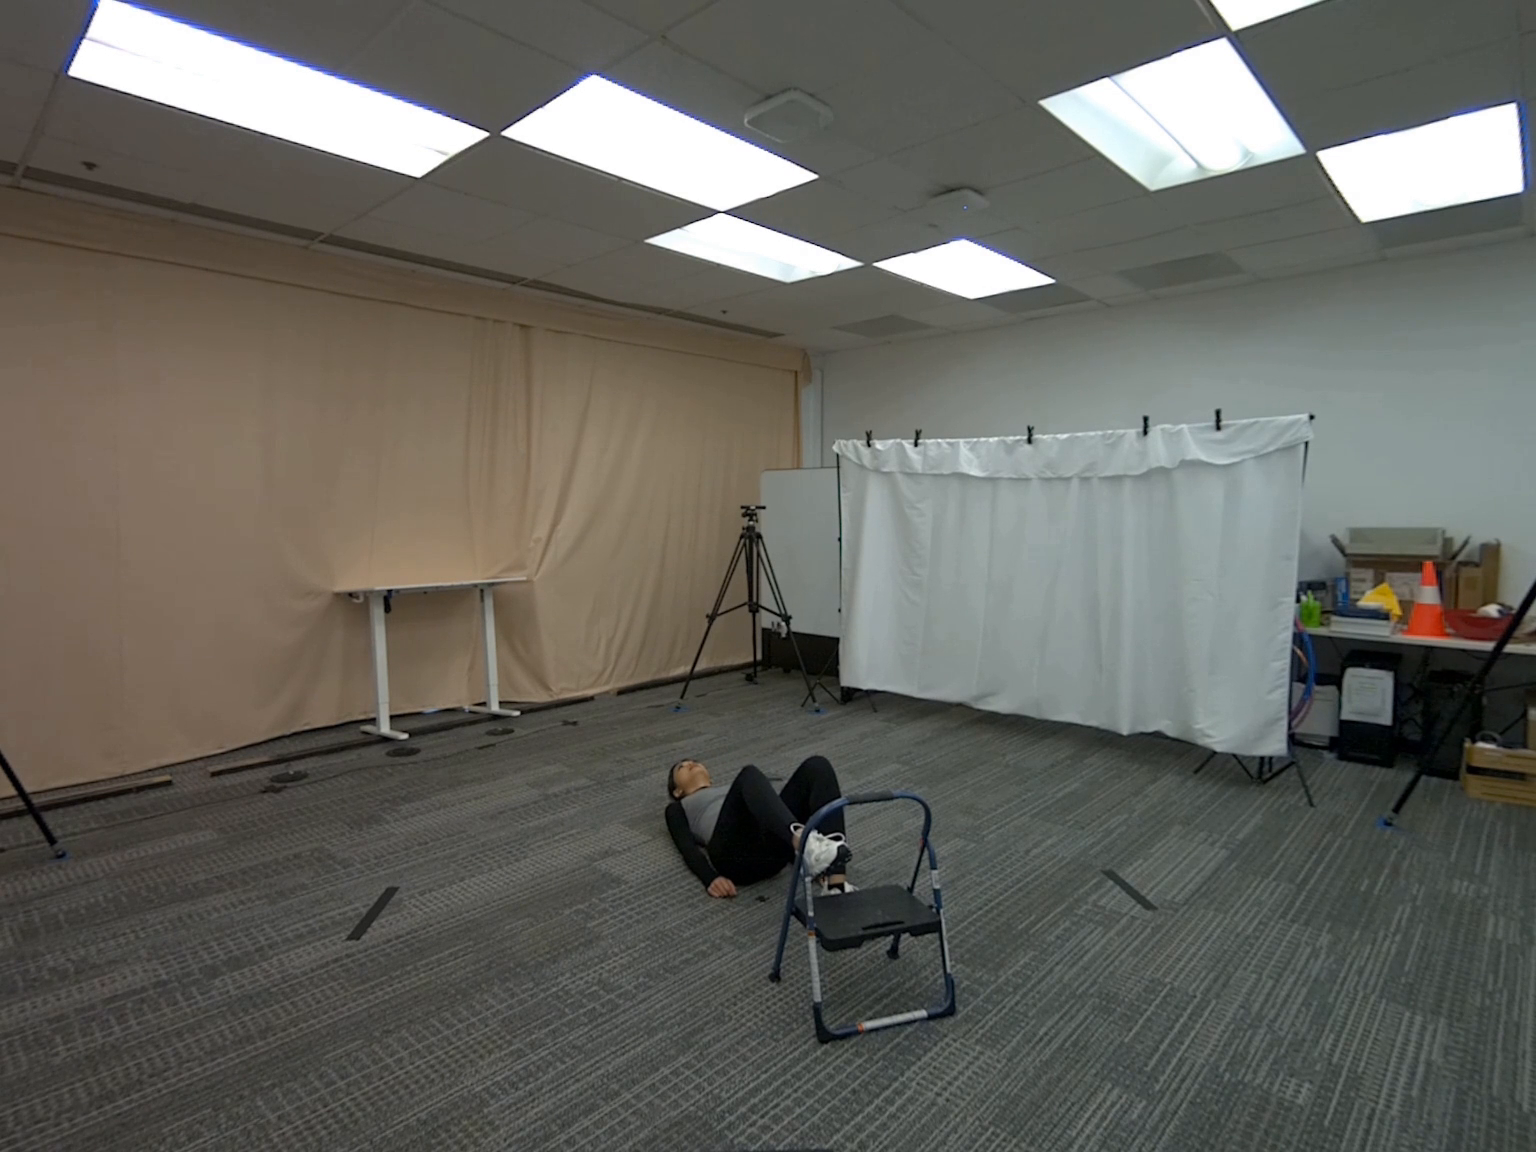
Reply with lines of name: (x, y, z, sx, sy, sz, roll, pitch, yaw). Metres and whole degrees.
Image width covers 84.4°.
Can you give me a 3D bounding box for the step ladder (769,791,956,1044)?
step ladder: (0.270, 0.893, 2.383, 0.422, 0.605, 0.357, -1, 3, -21)
